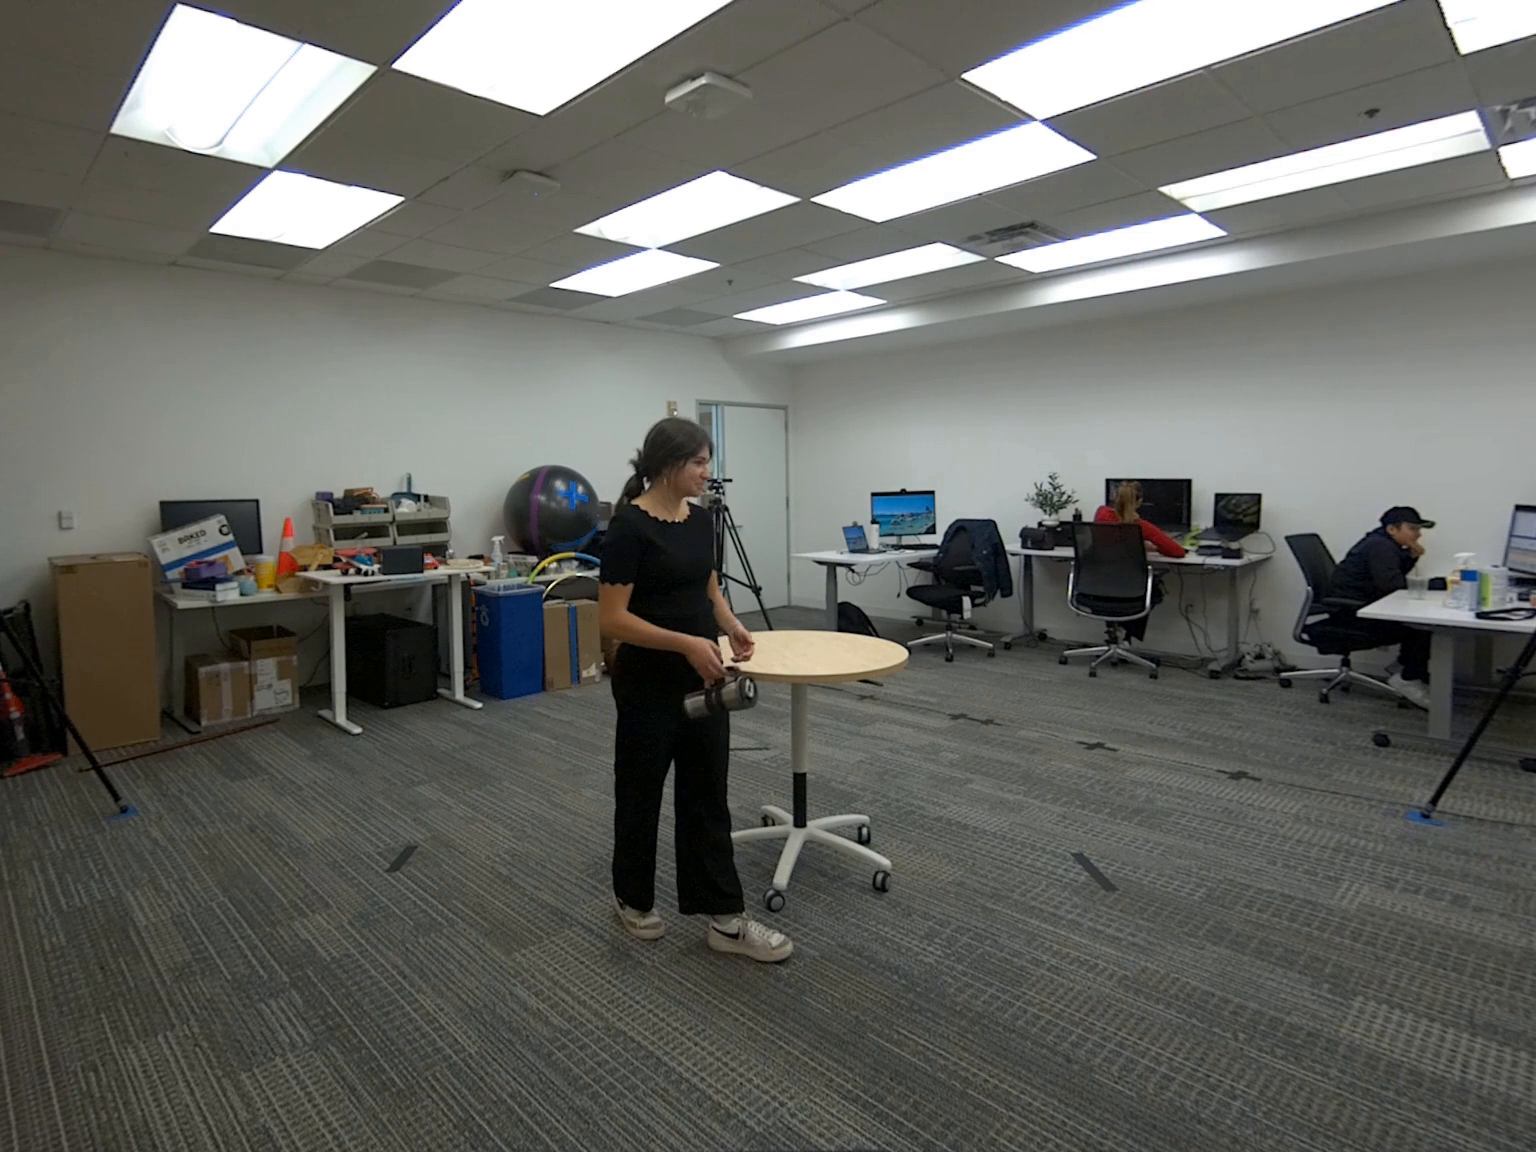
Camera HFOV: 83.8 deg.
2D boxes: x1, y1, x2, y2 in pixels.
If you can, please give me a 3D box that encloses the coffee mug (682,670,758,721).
[{"bbox_3d":[-0.151,0.328,2.371,0.206,0.125,0.084,-17,-34,27],"label":"coffee mug"}]
